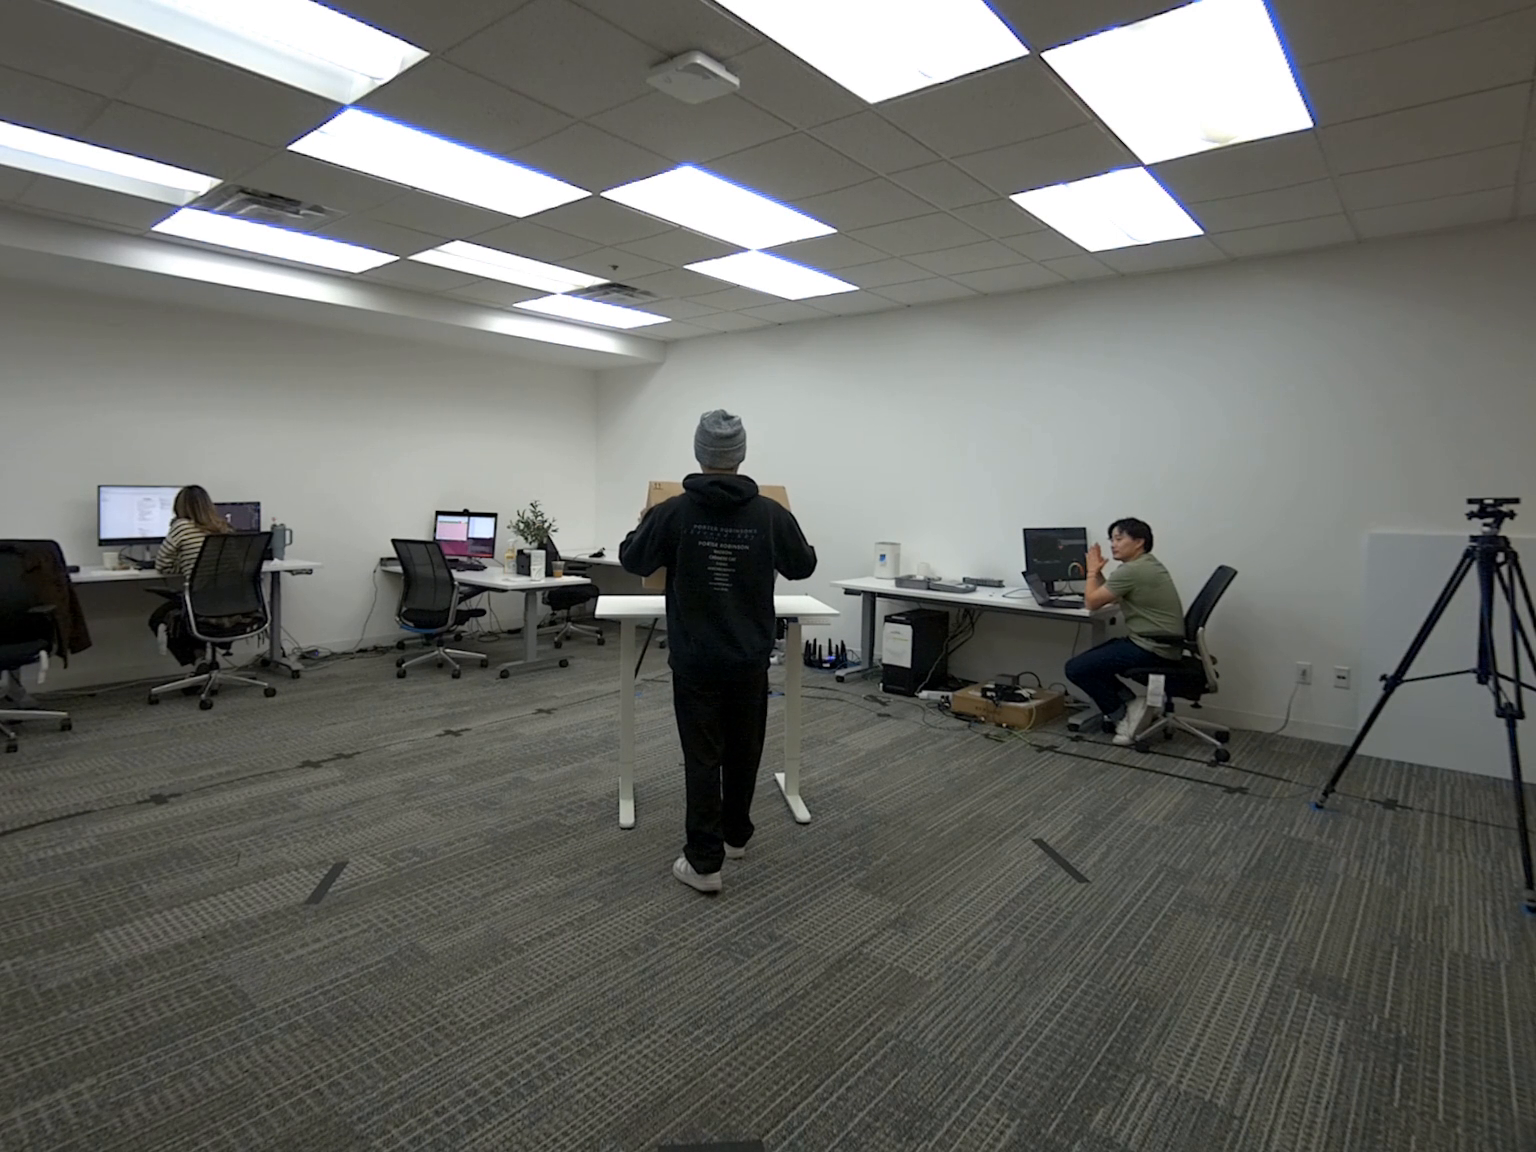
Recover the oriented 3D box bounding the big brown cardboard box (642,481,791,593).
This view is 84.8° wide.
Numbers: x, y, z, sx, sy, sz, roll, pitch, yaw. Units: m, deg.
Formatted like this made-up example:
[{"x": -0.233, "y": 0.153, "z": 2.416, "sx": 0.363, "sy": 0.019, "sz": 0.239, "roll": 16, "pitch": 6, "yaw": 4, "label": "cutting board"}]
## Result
[{"x": -0.231, "y": -0.159, "z": 3.527, "sx": 0.580, "sy": 0.410, "sz": 0.241, "roll": 1, "pitch": 46, "yaw": -15, "label": "big brown cardboard box"}]
